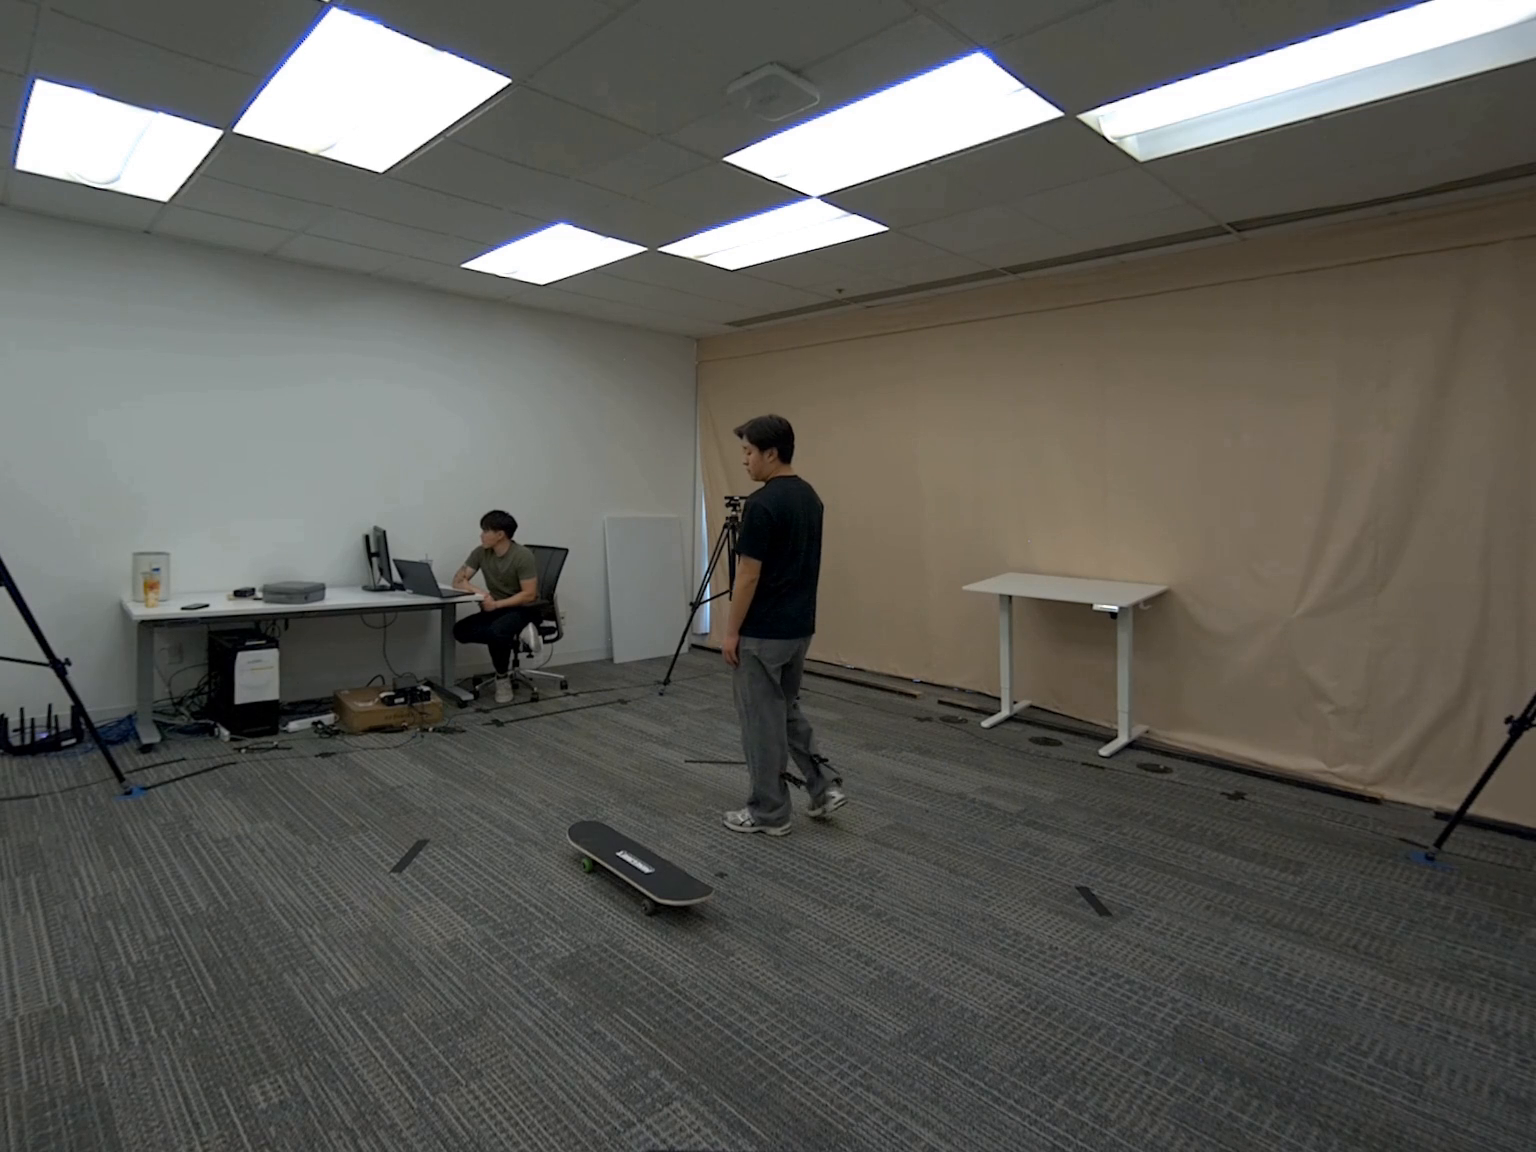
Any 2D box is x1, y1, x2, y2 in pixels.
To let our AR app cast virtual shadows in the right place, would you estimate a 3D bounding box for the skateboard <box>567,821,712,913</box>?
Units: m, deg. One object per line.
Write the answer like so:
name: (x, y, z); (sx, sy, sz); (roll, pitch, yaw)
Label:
skateboard: (-0.483, 1.053, 3.001); (0.189, 0.110, 0.806); (-2, 6, -41)
